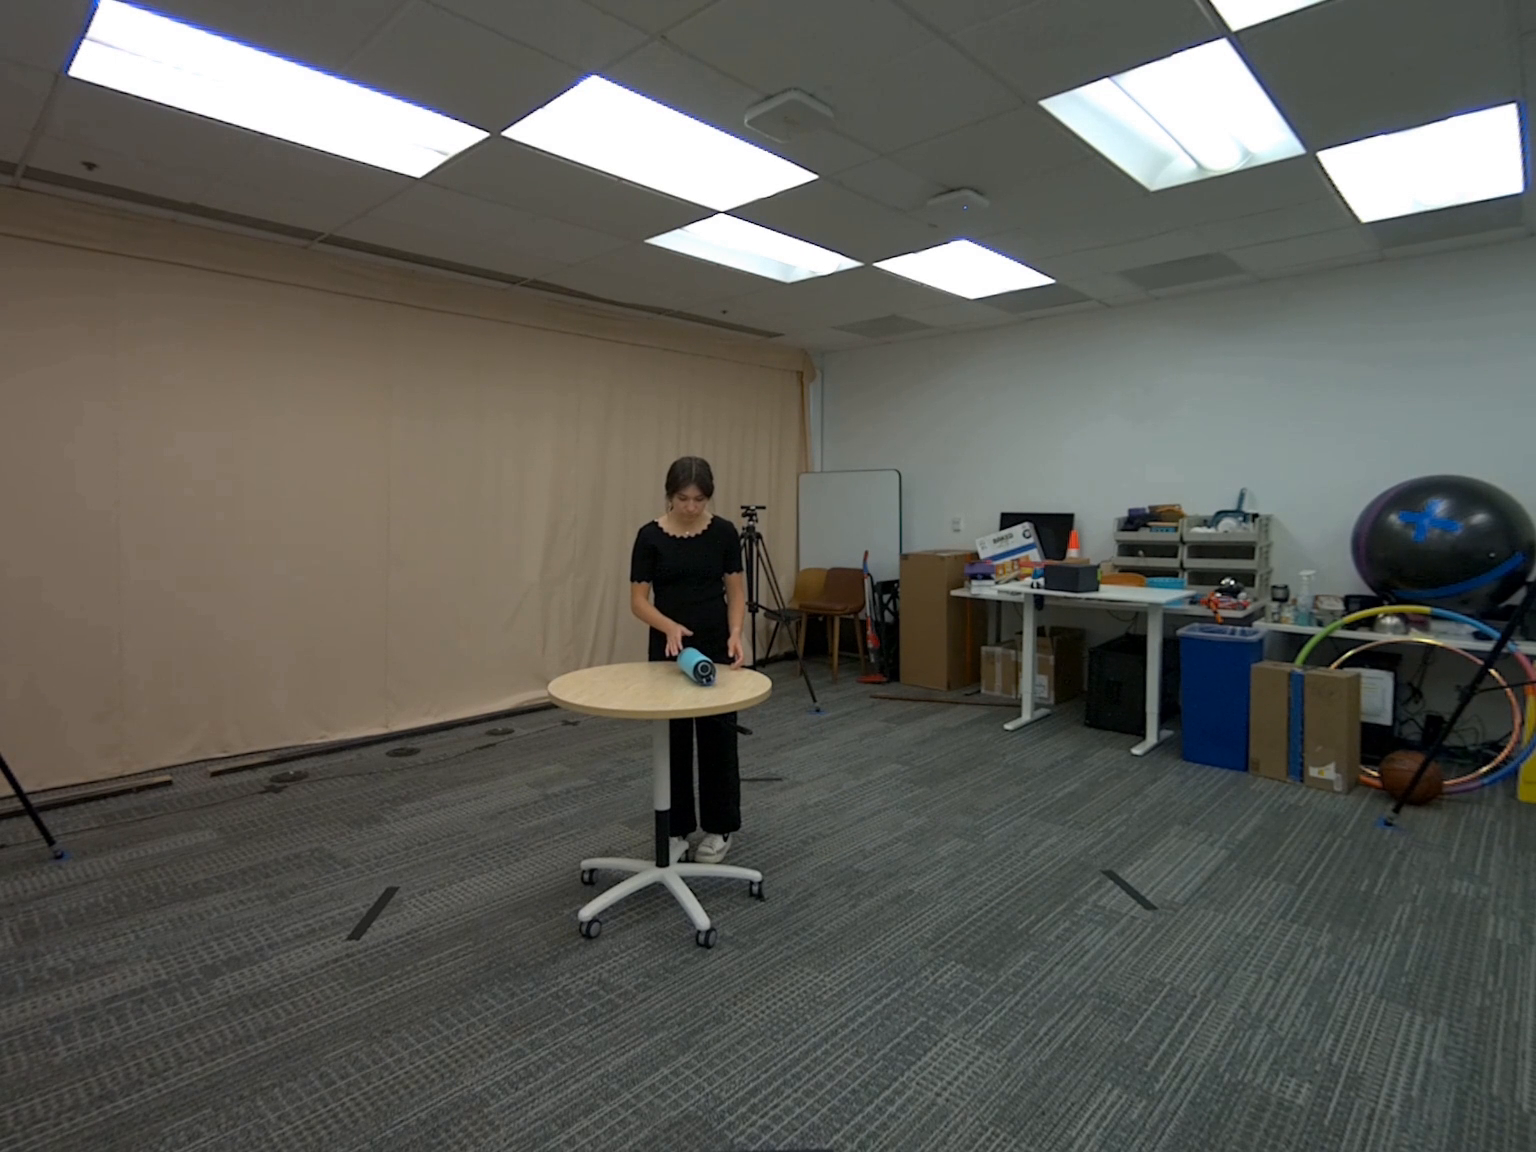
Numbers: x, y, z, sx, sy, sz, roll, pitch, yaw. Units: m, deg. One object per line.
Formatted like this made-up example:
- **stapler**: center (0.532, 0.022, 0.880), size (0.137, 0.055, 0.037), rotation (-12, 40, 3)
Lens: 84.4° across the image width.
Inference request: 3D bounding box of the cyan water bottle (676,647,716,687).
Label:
- **cyan water bottle**: center (-0.240, 0.314, 2.949), size (0.091, 0.092, 0.288), rotation (-1, 4, -14)
